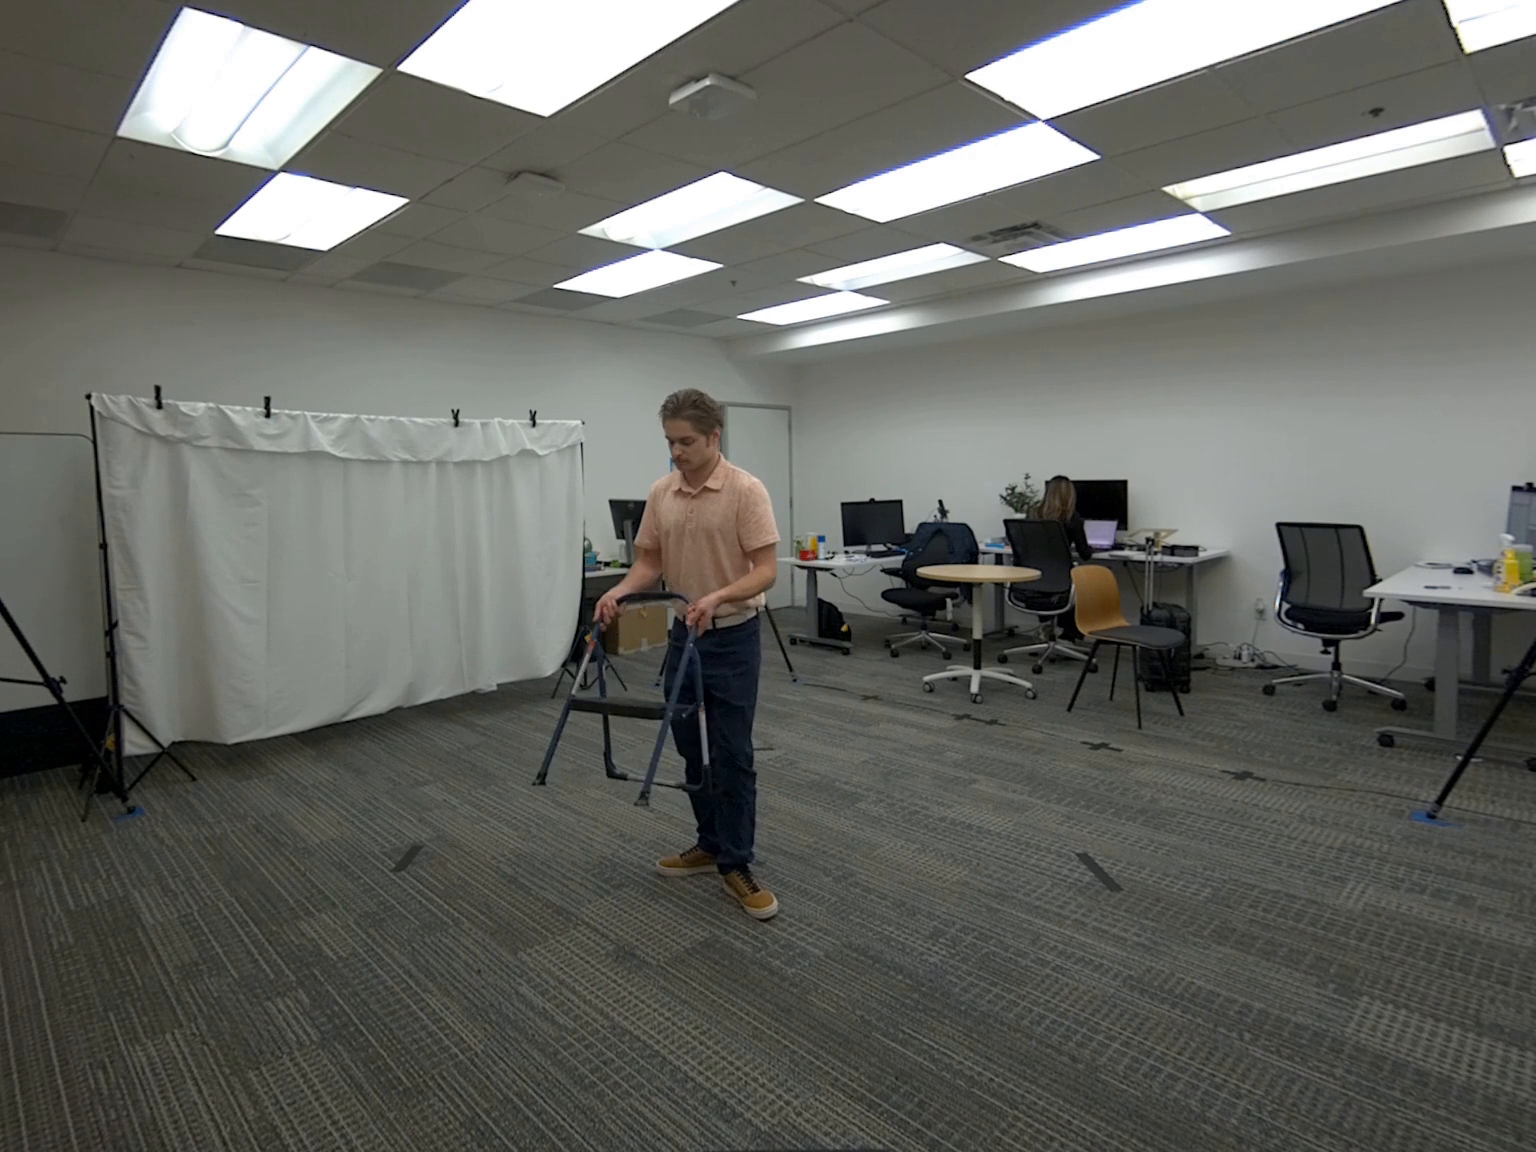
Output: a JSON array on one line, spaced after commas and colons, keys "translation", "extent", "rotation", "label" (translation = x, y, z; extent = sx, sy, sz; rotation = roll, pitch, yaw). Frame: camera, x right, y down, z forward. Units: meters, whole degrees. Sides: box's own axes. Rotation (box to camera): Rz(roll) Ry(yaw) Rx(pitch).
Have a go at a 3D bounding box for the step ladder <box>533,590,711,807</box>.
[{"translation": [-0.411, 0.343, 2.599], "extent": [0.442, 0.611, 0.338], "rotation": [-2, -10, 33], "label": "step ladder"}]
